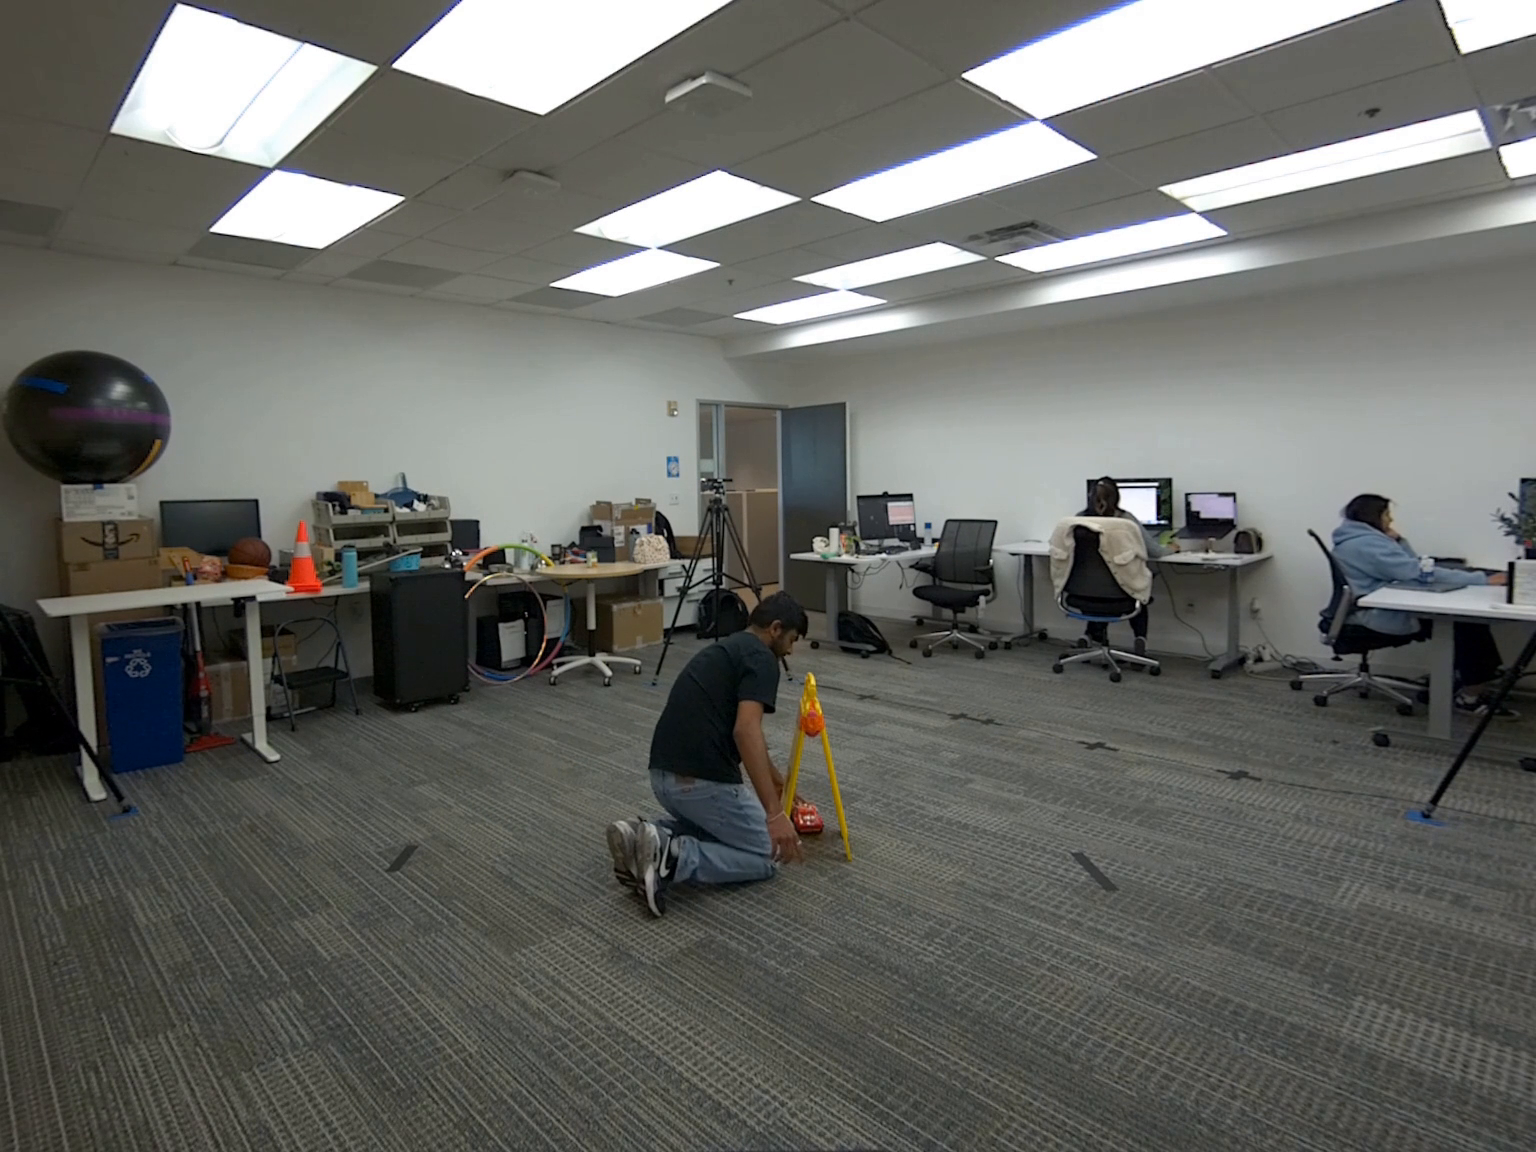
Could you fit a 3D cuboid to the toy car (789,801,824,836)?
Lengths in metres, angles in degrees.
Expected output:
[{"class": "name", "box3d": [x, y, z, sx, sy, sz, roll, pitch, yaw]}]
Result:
[{"class": "toy car", "box3d": [0.152, 0.972, 3.433, 0.130, 0.084, 0.254, -1, -5, -6]}]
